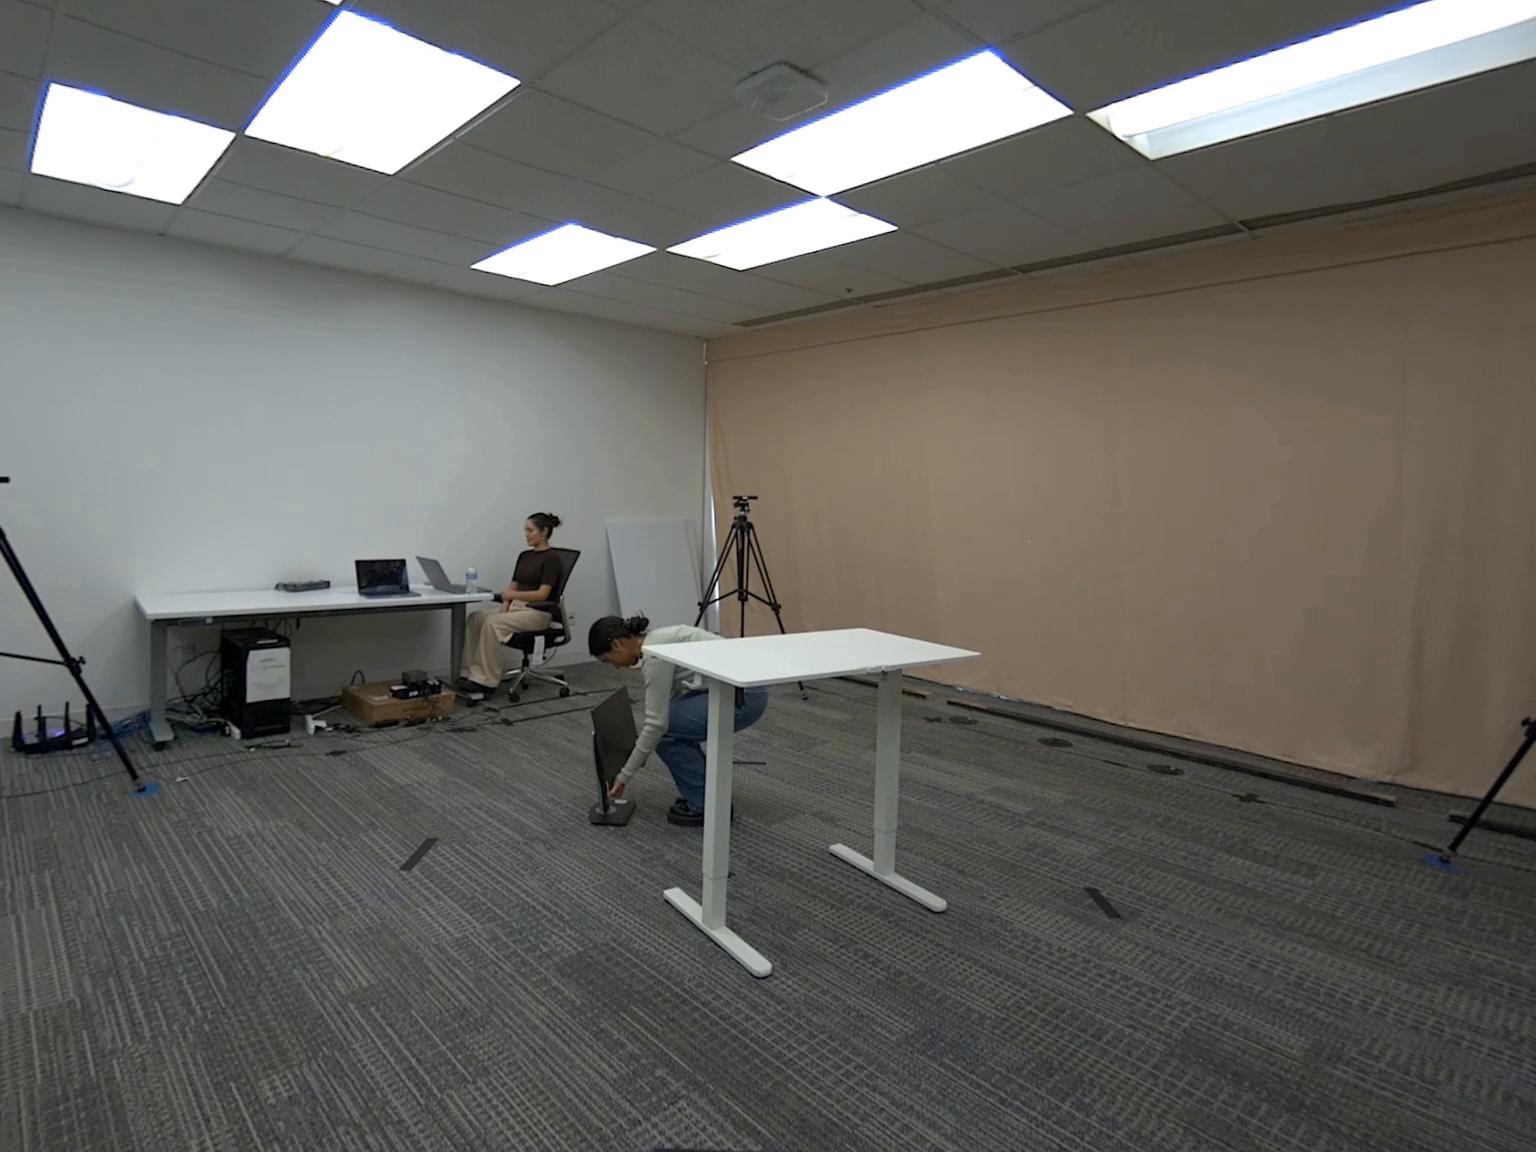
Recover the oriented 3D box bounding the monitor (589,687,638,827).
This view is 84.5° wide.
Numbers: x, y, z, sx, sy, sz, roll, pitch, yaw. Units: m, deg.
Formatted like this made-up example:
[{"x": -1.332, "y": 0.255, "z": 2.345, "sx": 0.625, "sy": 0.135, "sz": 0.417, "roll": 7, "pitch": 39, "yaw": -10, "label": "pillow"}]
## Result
[{"x": -0.682, "y": 0.780, "z": 3.668, "sx": 0.187, "sy": 0.521, "sz": 0.539, "roll": 1, "pitch": 3, "yaw": 2, "label": "monitor"}]
